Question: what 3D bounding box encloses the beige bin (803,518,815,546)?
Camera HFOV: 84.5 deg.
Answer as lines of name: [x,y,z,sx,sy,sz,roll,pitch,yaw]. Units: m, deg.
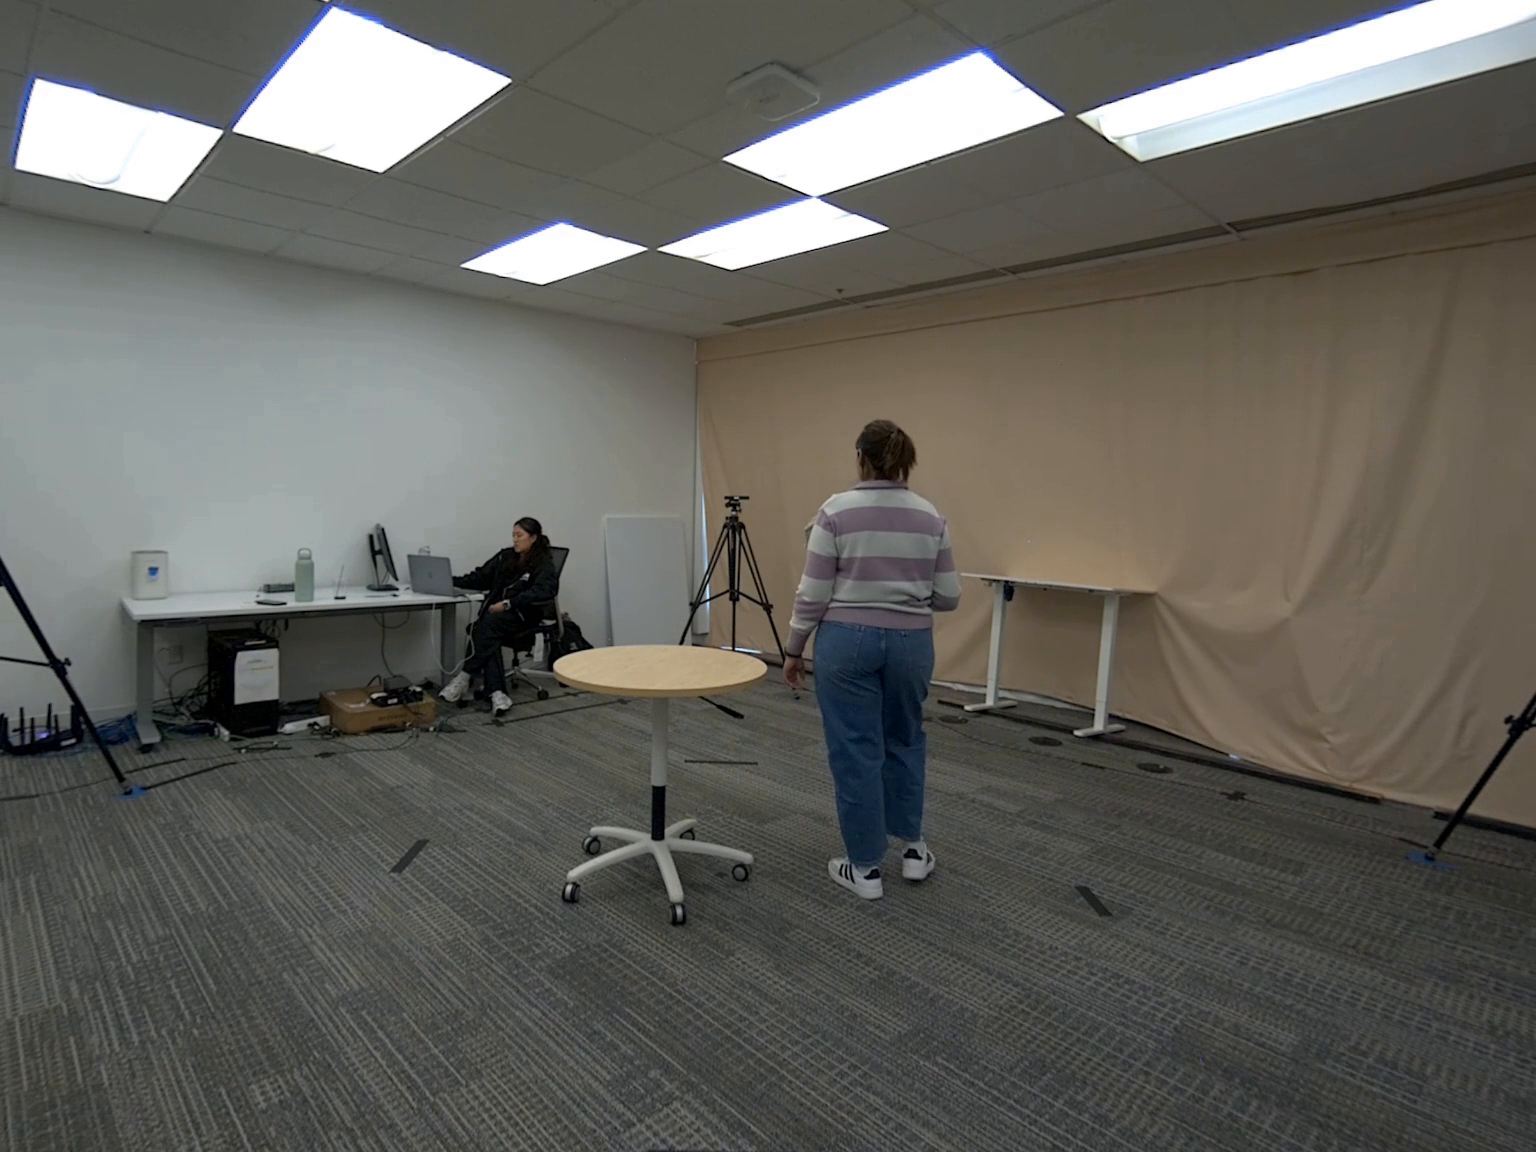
beige bin: [0.310,-0.081,3.364,0.189,0.377,0.422,-34,2,12]
